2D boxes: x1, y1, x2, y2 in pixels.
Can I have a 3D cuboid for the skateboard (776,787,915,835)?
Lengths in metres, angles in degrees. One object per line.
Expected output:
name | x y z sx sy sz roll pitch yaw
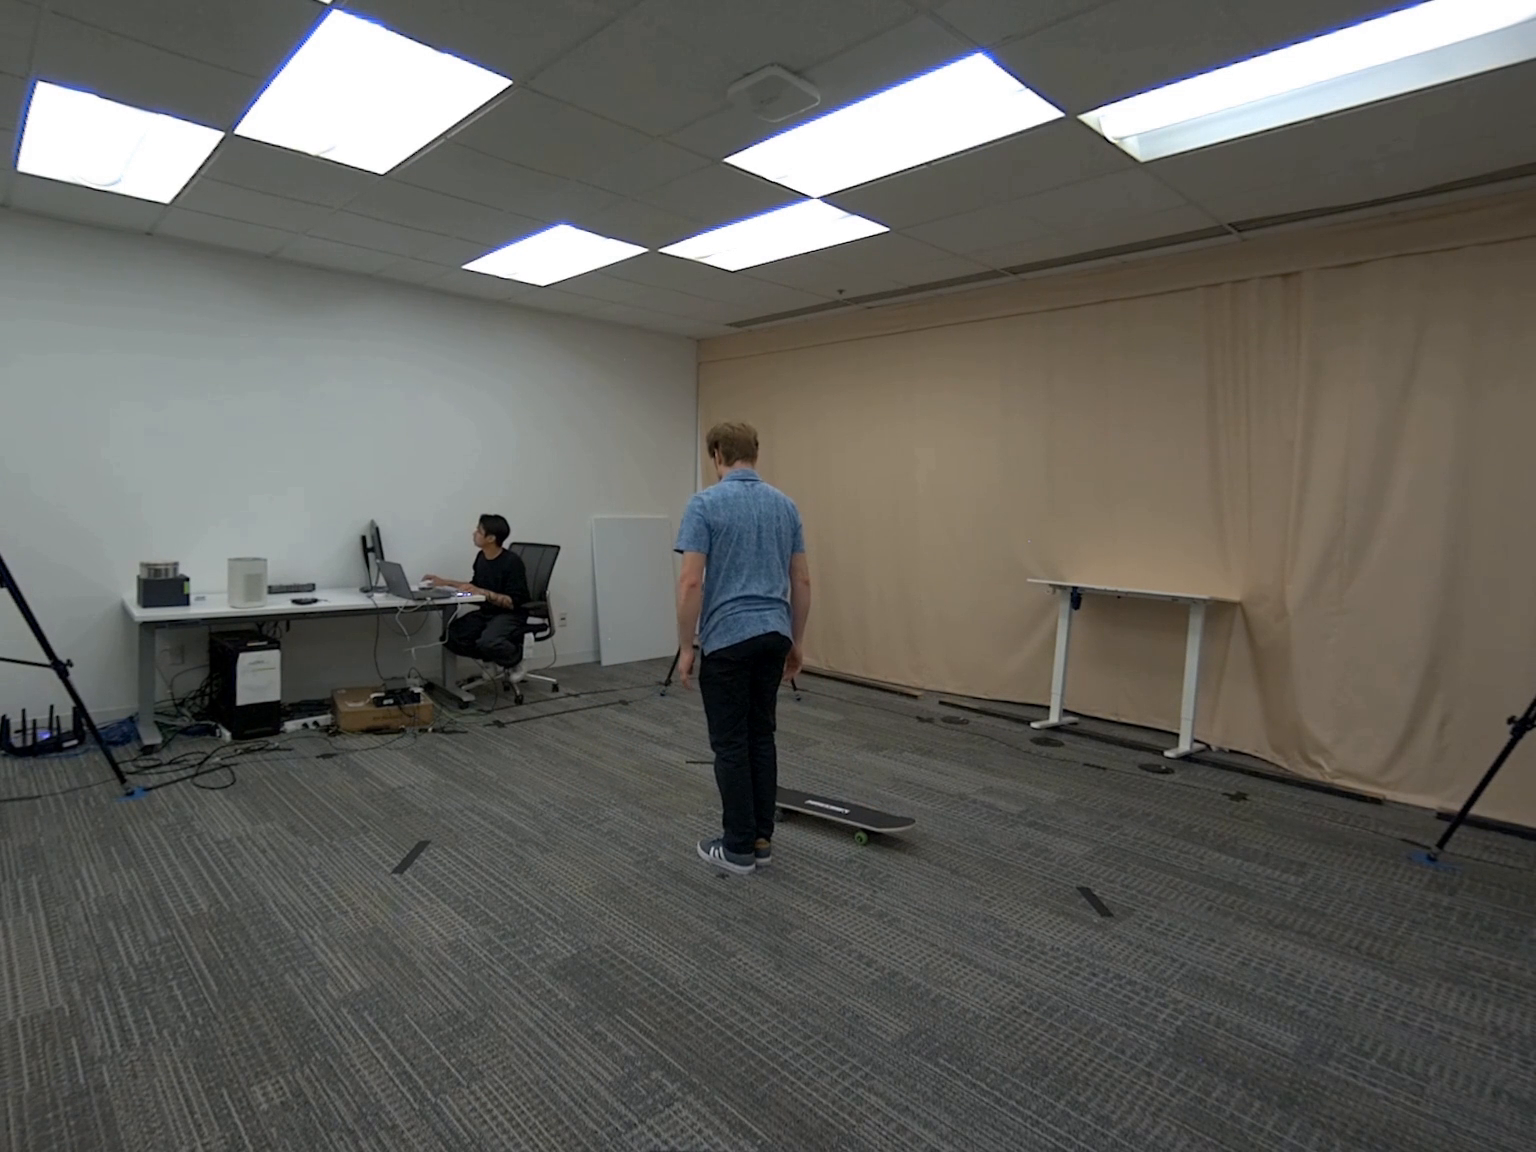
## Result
skateboard | 0.243 1.018 3.603 0.804 0.110 0.189 5 5 34
